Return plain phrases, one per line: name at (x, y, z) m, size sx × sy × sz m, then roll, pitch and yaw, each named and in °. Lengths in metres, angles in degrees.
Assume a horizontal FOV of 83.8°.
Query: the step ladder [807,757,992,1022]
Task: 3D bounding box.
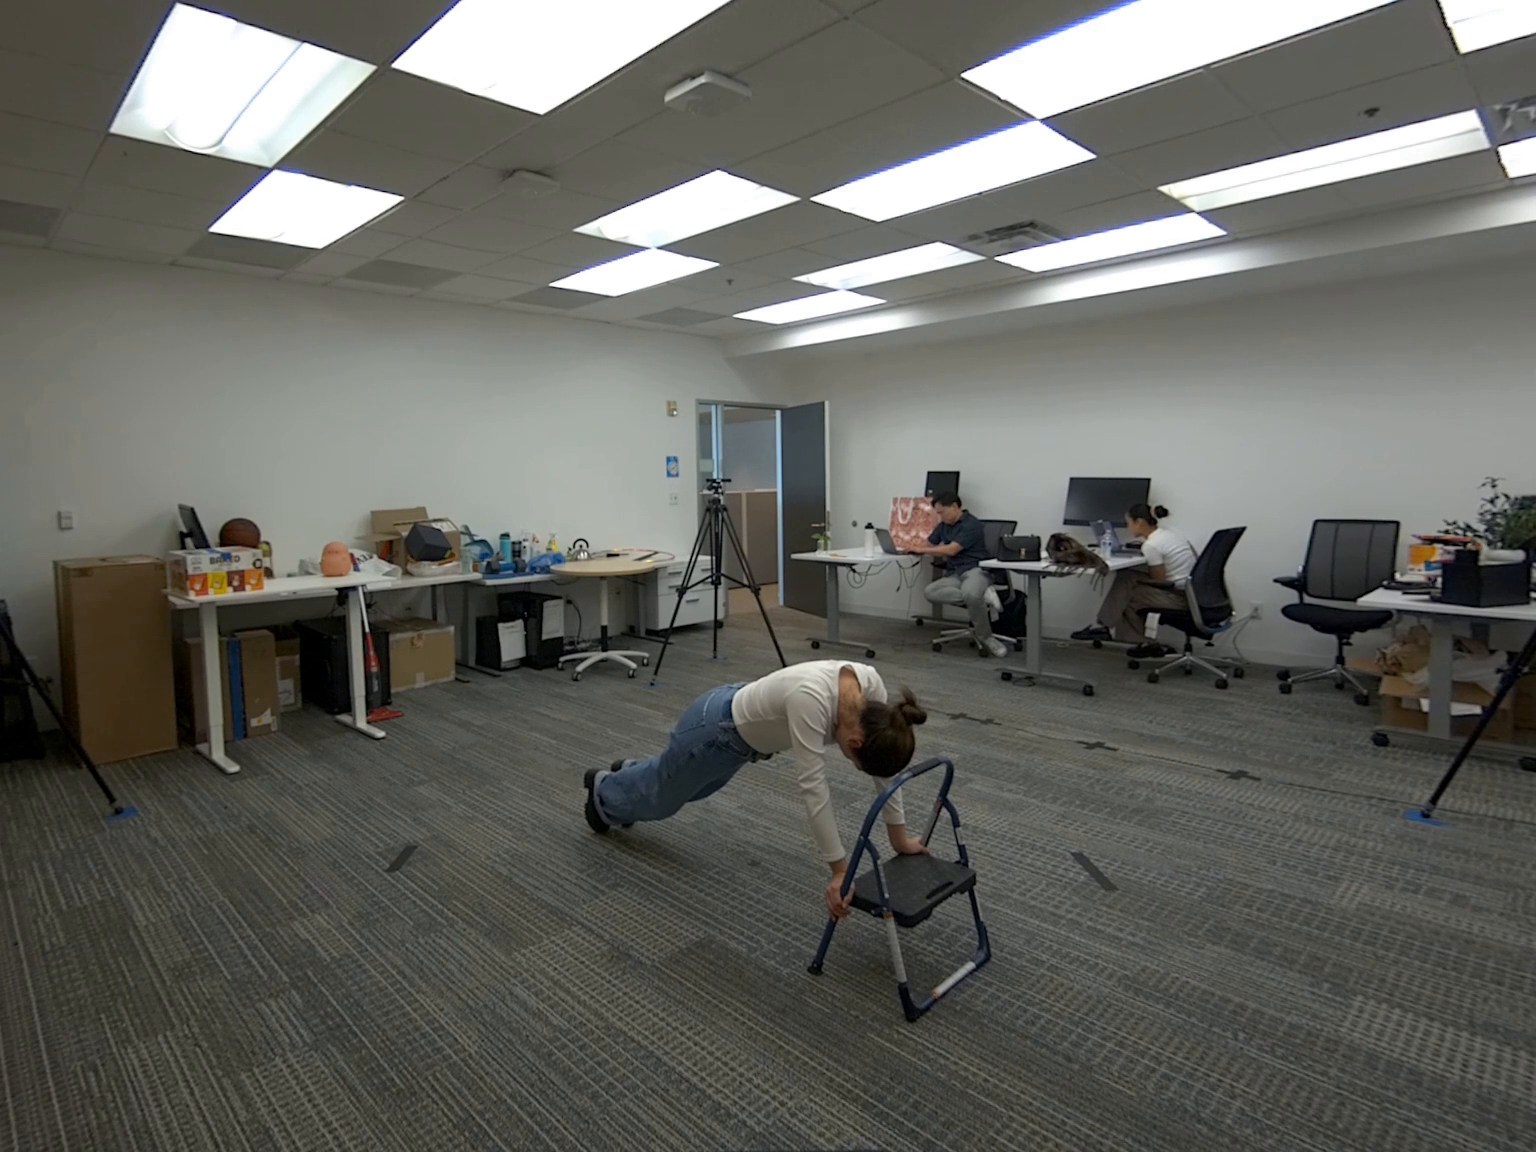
step ladder at (0.384, 0.816, 2.425) m, size 0.360 × 0.604 × 0.419 m, roll 3°, pitch 6°, yaw 43°
